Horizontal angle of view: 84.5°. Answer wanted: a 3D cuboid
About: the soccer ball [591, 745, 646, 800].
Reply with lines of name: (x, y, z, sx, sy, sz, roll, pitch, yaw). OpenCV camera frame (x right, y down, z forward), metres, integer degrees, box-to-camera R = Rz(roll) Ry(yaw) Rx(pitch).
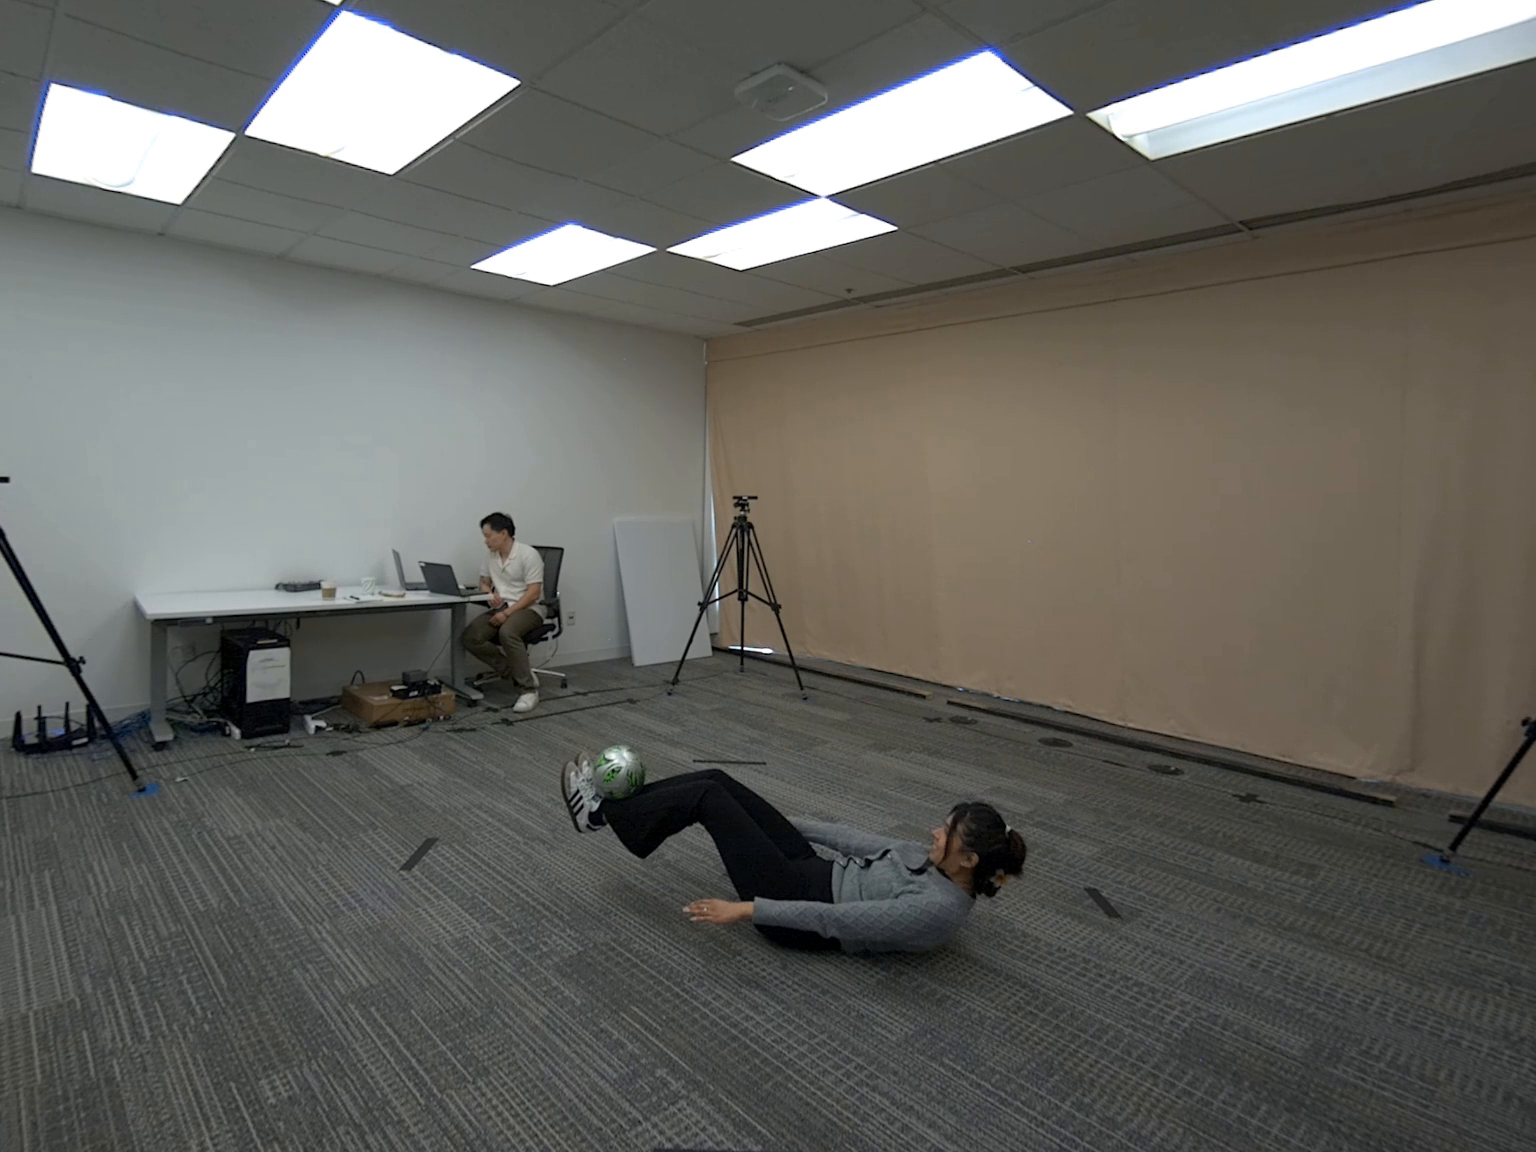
soccer ball: (-0.523, 0.685, 2.900, 0.187, 0.187, 0.188, 1, 4, -1)
